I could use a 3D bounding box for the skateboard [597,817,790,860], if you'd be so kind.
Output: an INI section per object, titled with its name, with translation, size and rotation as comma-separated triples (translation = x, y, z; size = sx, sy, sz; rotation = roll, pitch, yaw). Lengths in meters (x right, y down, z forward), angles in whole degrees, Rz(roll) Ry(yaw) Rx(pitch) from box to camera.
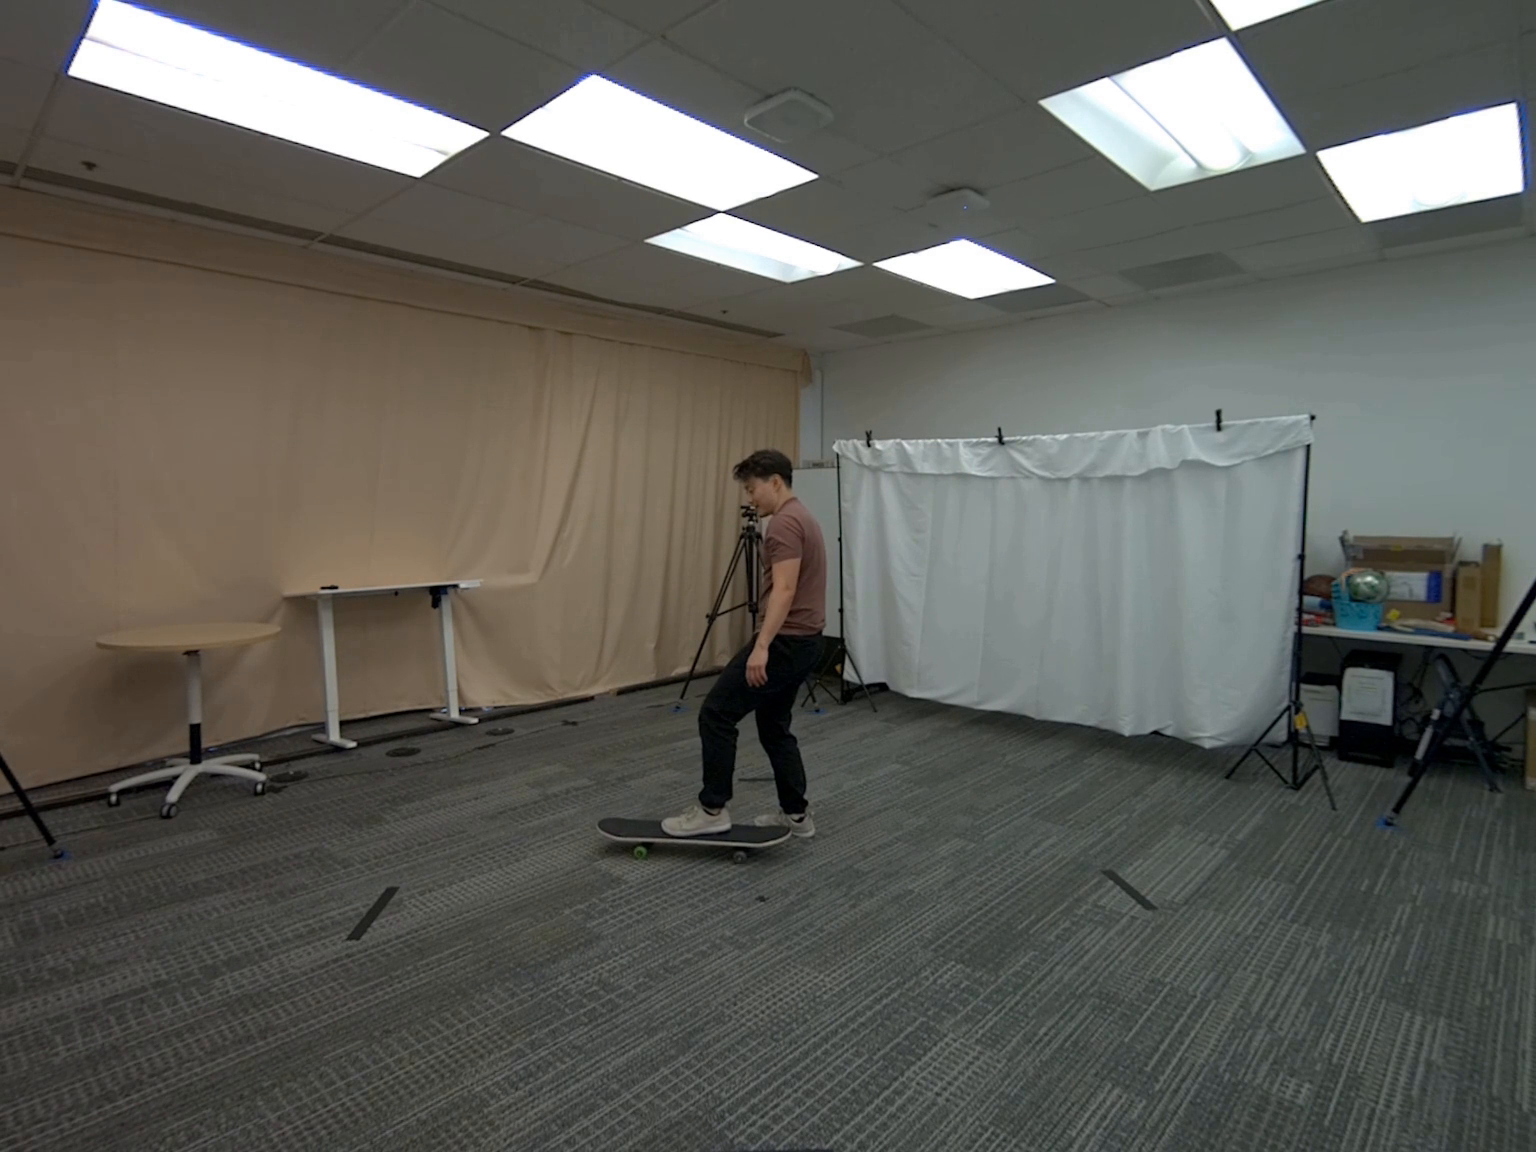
[skateboard]
translation = -0.296, 1.056, 3.377
size = 0.792, 0.110, 0.192
rotation = 1, 5, 8
